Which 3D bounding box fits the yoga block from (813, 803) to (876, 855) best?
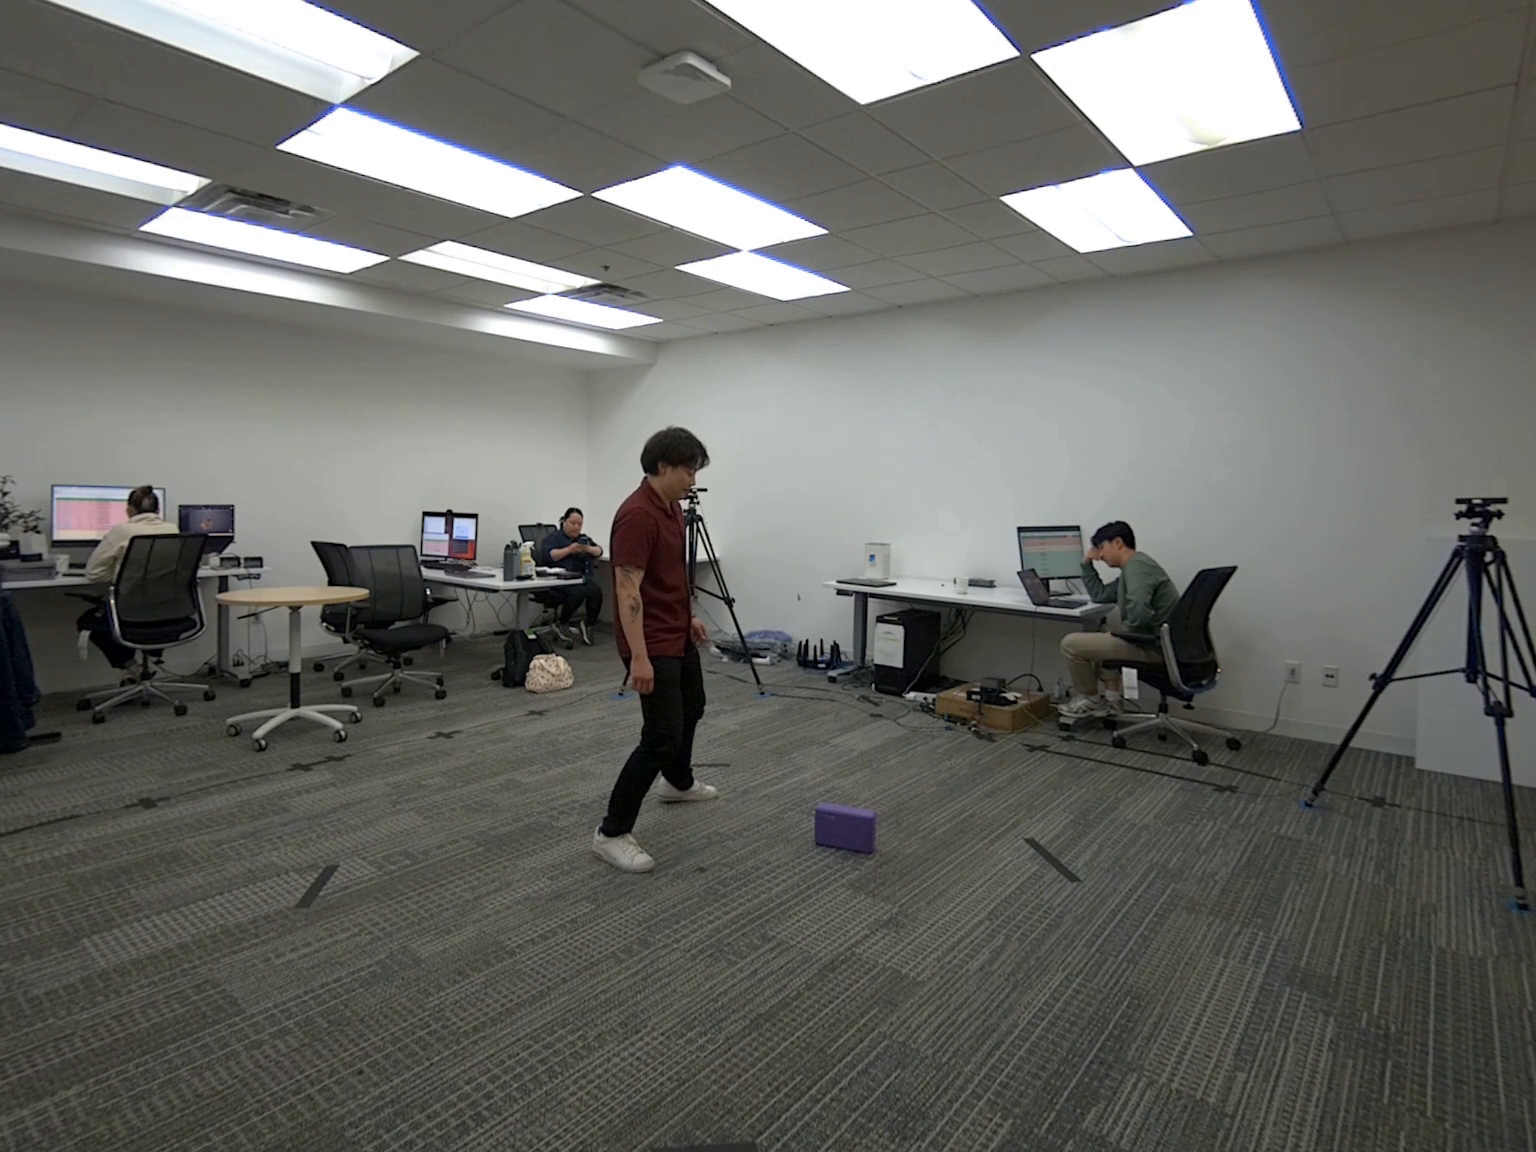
[{"bbox_3d":[0.295,0.988,3.334,0.234,0.148,0.075,3,4,21],"label":"yoga block"}]
